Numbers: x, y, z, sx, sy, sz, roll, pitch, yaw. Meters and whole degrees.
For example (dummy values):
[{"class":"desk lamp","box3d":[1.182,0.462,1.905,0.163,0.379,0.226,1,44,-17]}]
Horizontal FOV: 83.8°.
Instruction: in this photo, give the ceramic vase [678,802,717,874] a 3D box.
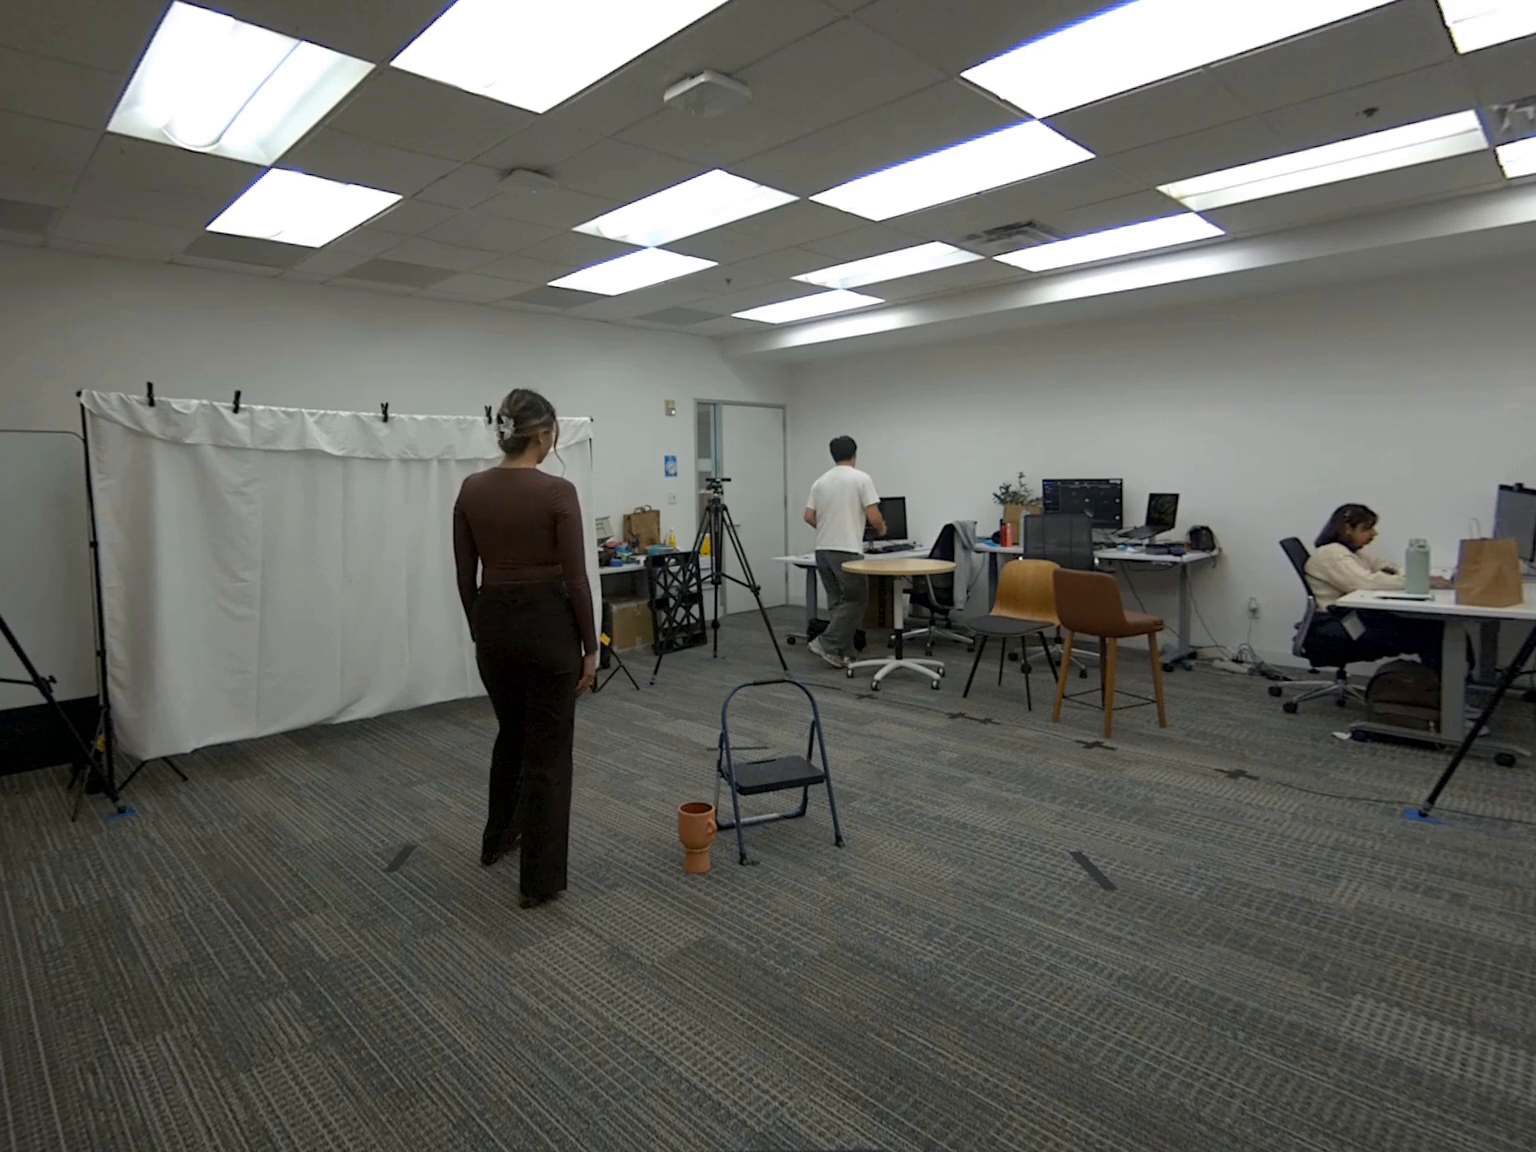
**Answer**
[{"class":"ceramic vase","box3d":[-0.251,0.931,3.062,0.133,0.219,0.161,-1,5,-11]}]
